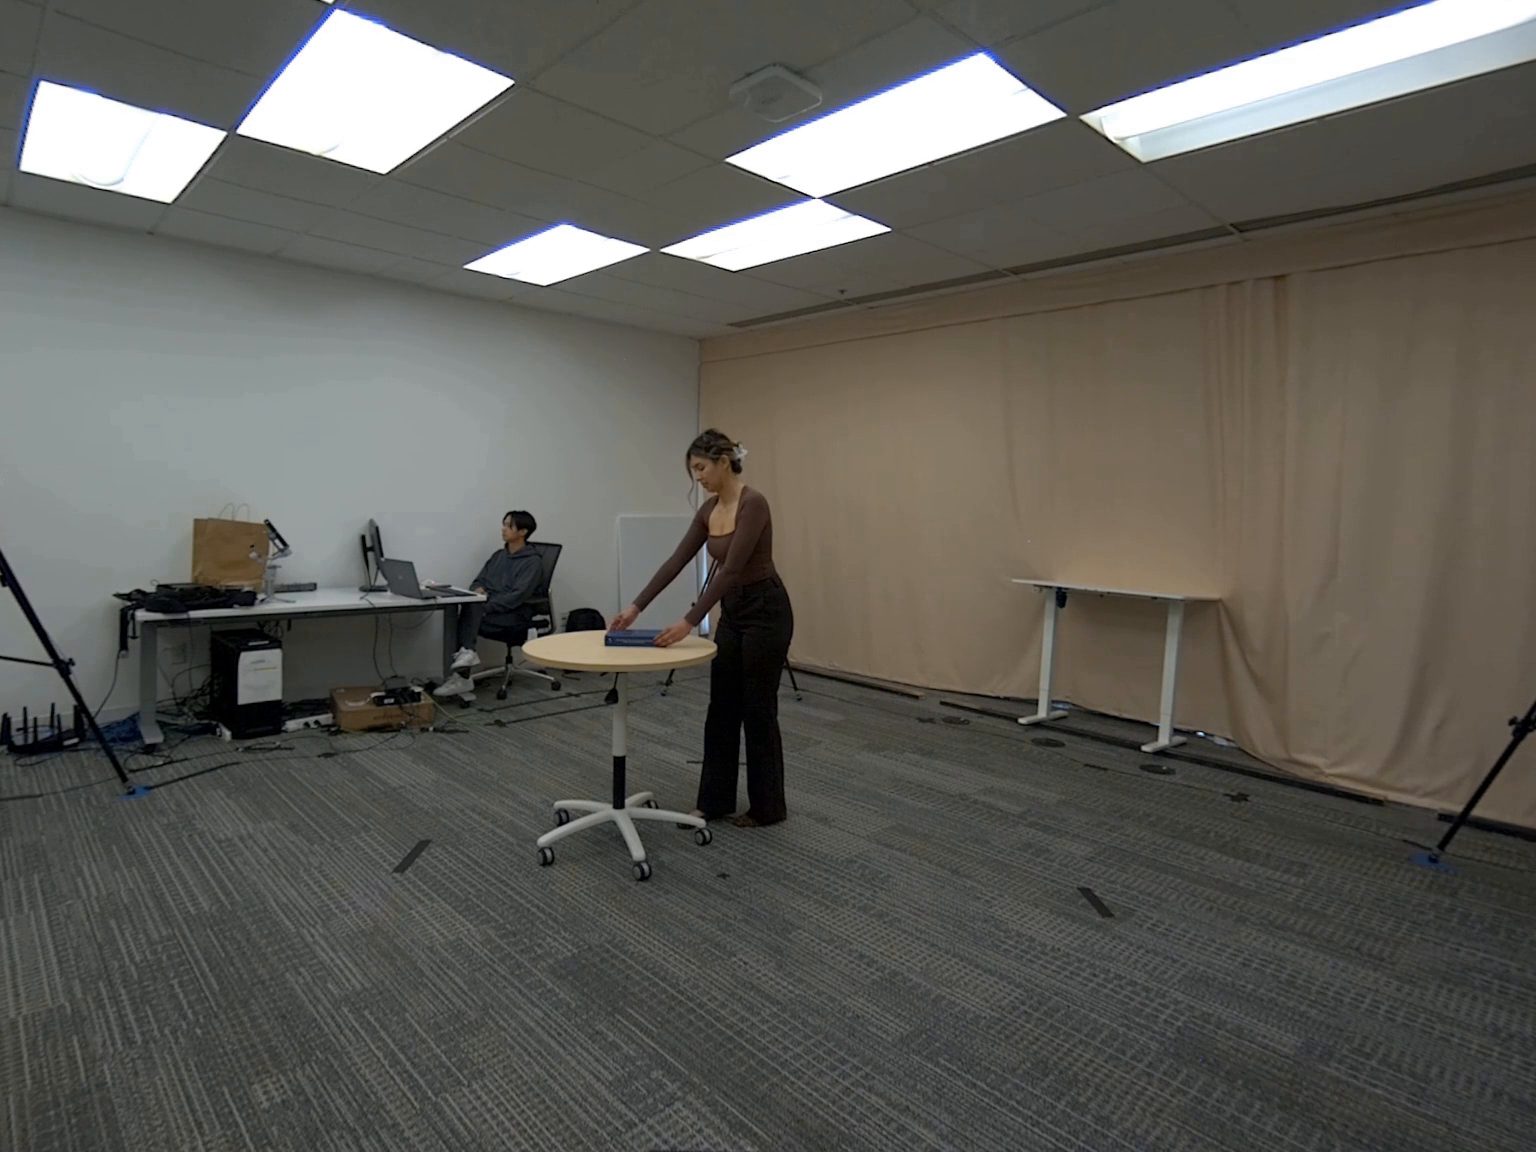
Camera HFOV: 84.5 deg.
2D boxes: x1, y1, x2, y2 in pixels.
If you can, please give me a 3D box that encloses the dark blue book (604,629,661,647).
[{"bbox_3d":[-0.539,0.255,3.402,0.245,0.045,0.164,2,5,1],"label":"dark blue book"}]
